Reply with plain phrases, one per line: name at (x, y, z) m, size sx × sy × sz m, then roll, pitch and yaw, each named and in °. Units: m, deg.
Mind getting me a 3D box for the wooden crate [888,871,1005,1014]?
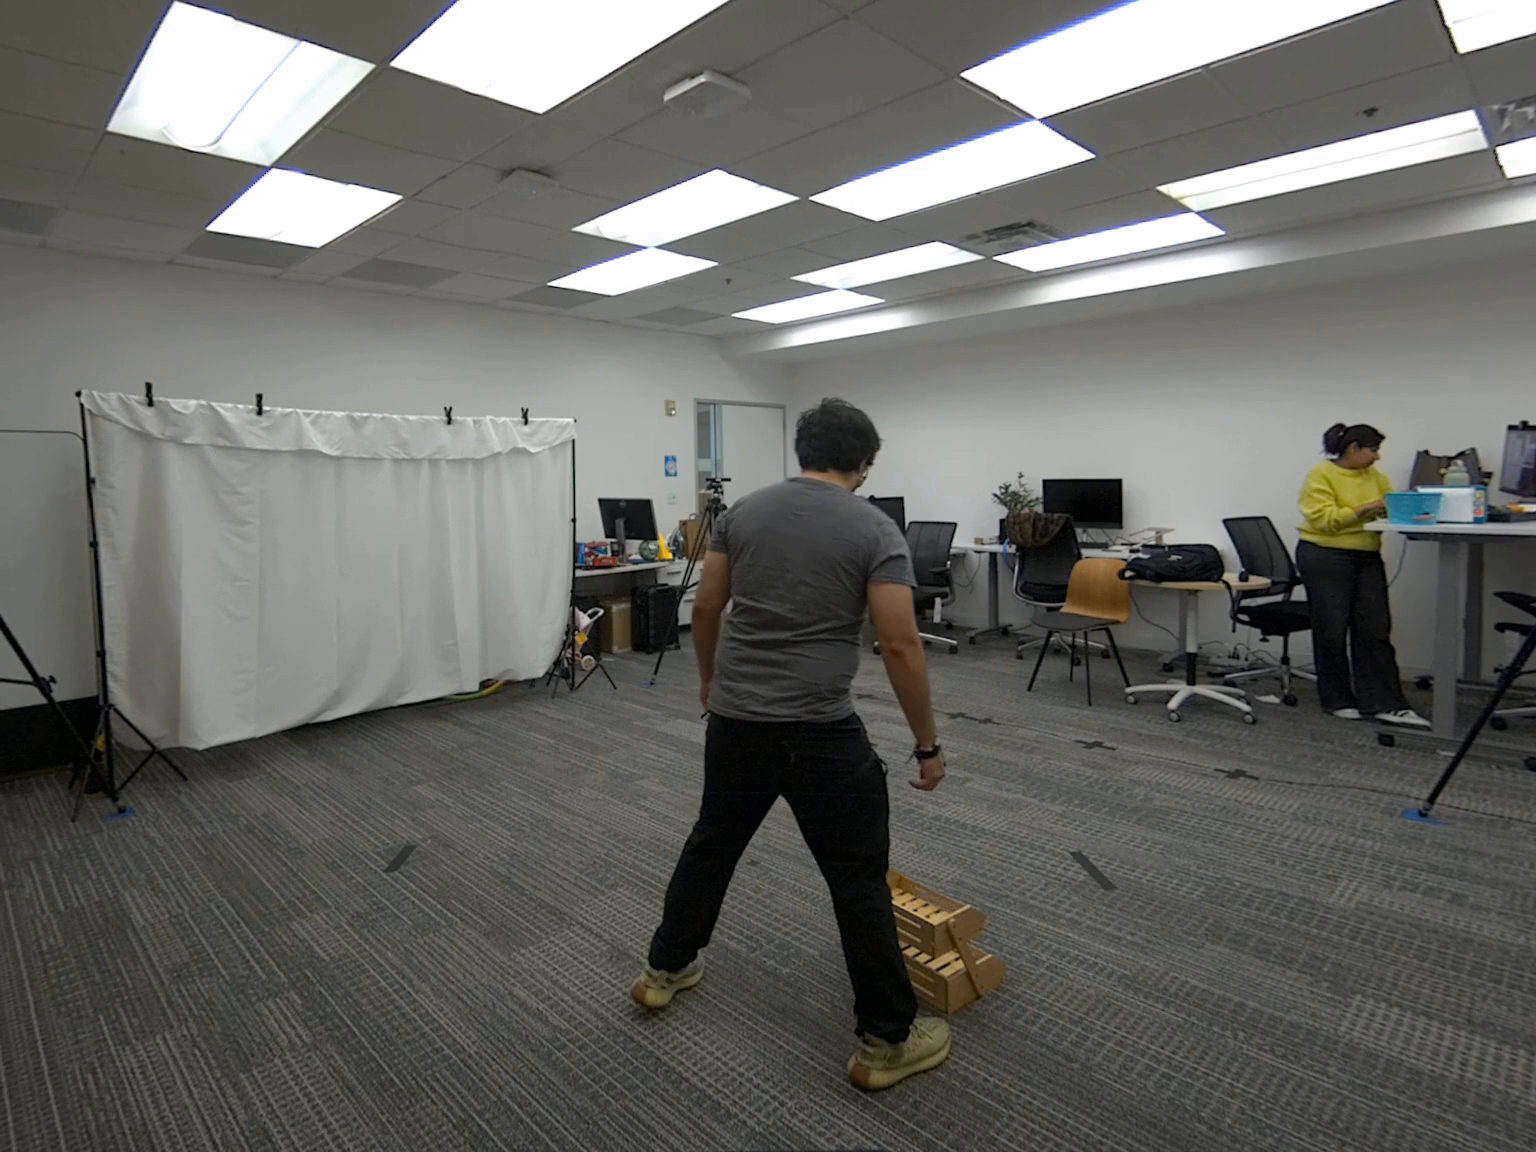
wooden crate at (0.456, 0.984, 2.381) m, size 0.294 × 0.272 × 0.334 m, roll -6°, pitch 7°, yaw -38°
